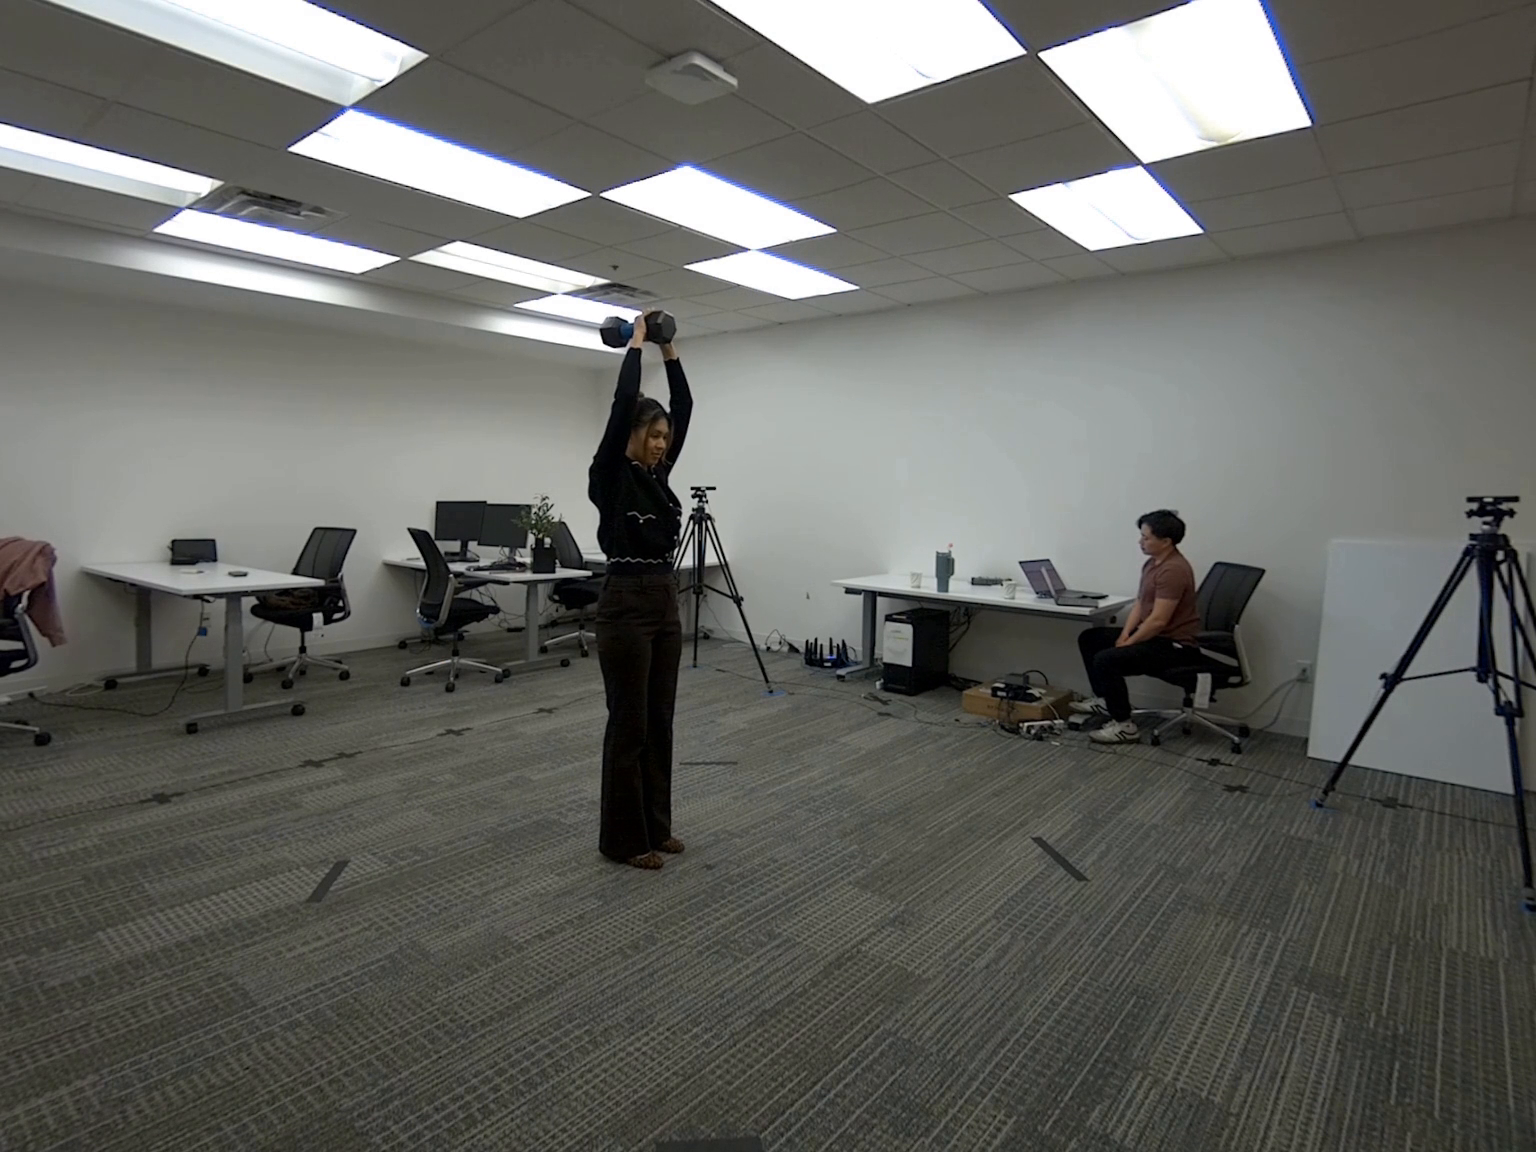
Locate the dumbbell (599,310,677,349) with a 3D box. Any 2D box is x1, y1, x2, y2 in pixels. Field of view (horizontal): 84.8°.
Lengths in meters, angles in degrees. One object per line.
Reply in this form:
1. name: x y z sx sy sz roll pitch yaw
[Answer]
1. dumbbell: -0.492 -0.918 3.157 0.303 0.120 0.108 6 29 32
